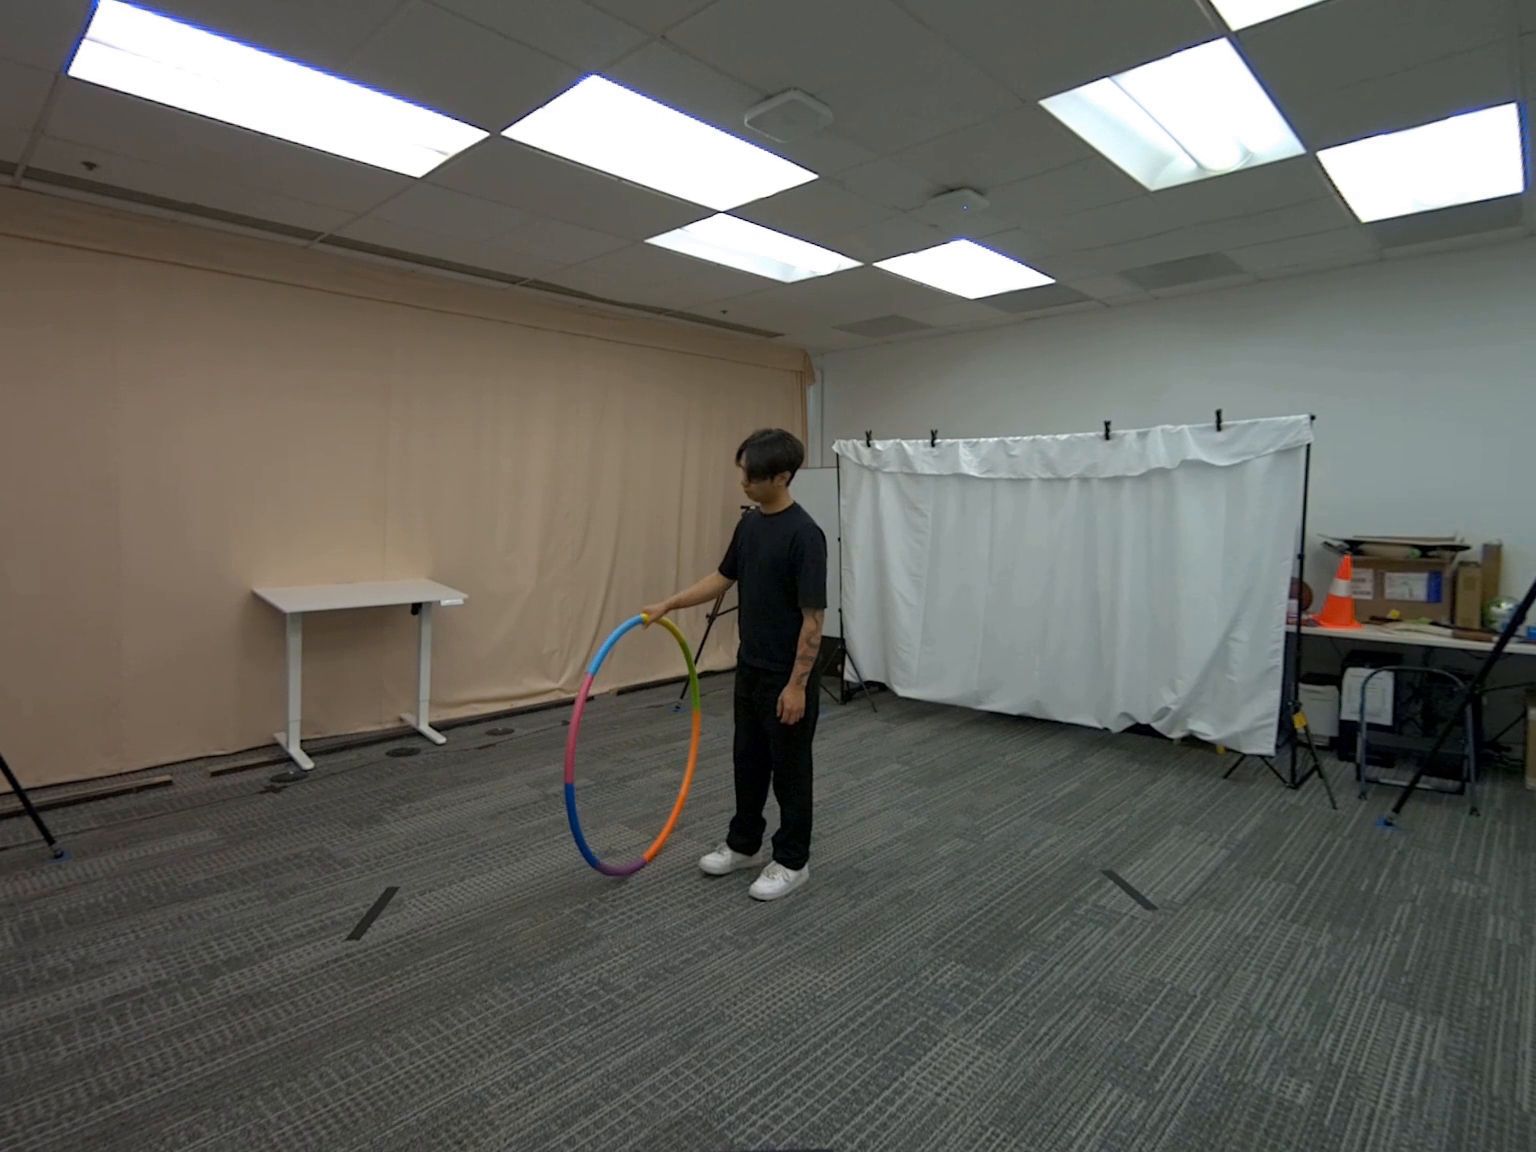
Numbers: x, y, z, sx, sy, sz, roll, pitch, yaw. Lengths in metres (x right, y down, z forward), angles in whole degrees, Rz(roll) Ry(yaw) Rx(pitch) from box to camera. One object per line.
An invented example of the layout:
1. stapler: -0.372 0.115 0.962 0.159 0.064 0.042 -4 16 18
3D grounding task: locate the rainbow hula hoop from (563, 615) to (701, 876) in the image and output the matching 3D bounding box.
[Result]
1. rainbow hula hoop: -0.481 0.642 3.231 0.036 0.976 0.957 1 4 23
